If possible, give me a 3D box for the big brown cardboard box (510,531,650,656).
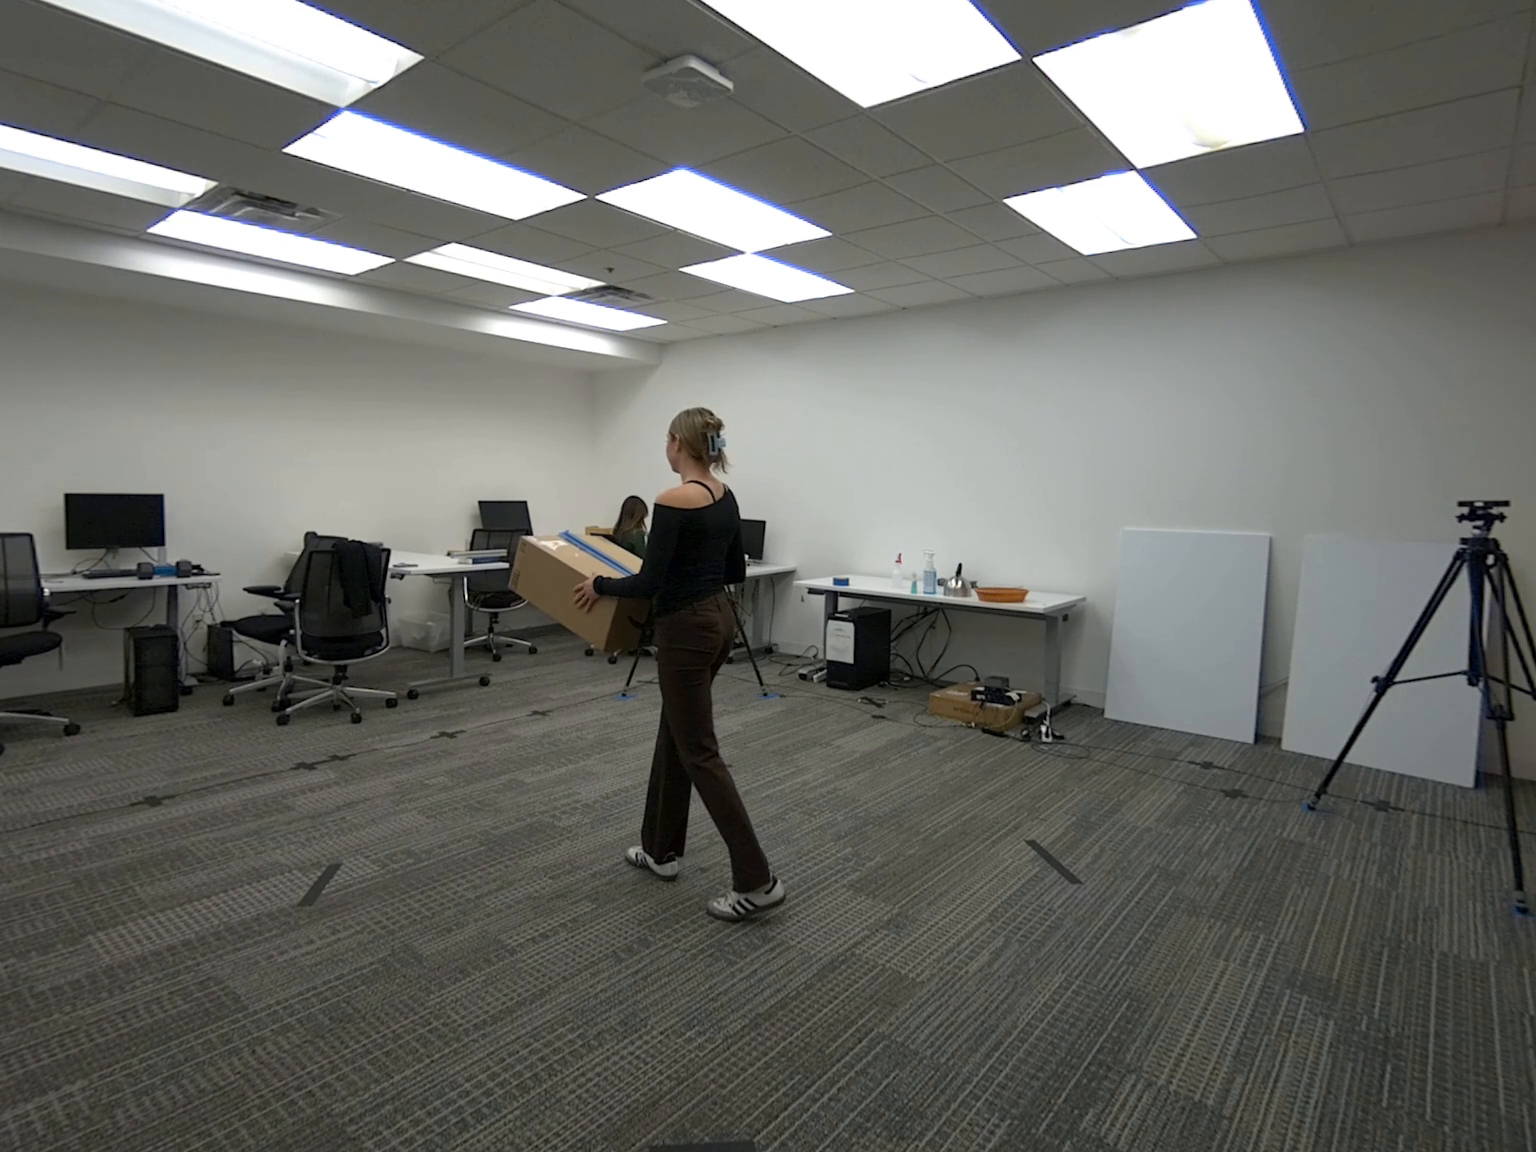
[{"bbox_3d":[-0.639,0.043,3.224,0.612,0.231,0.405,28,18,33],"label":"big brown cardboard box"}]
